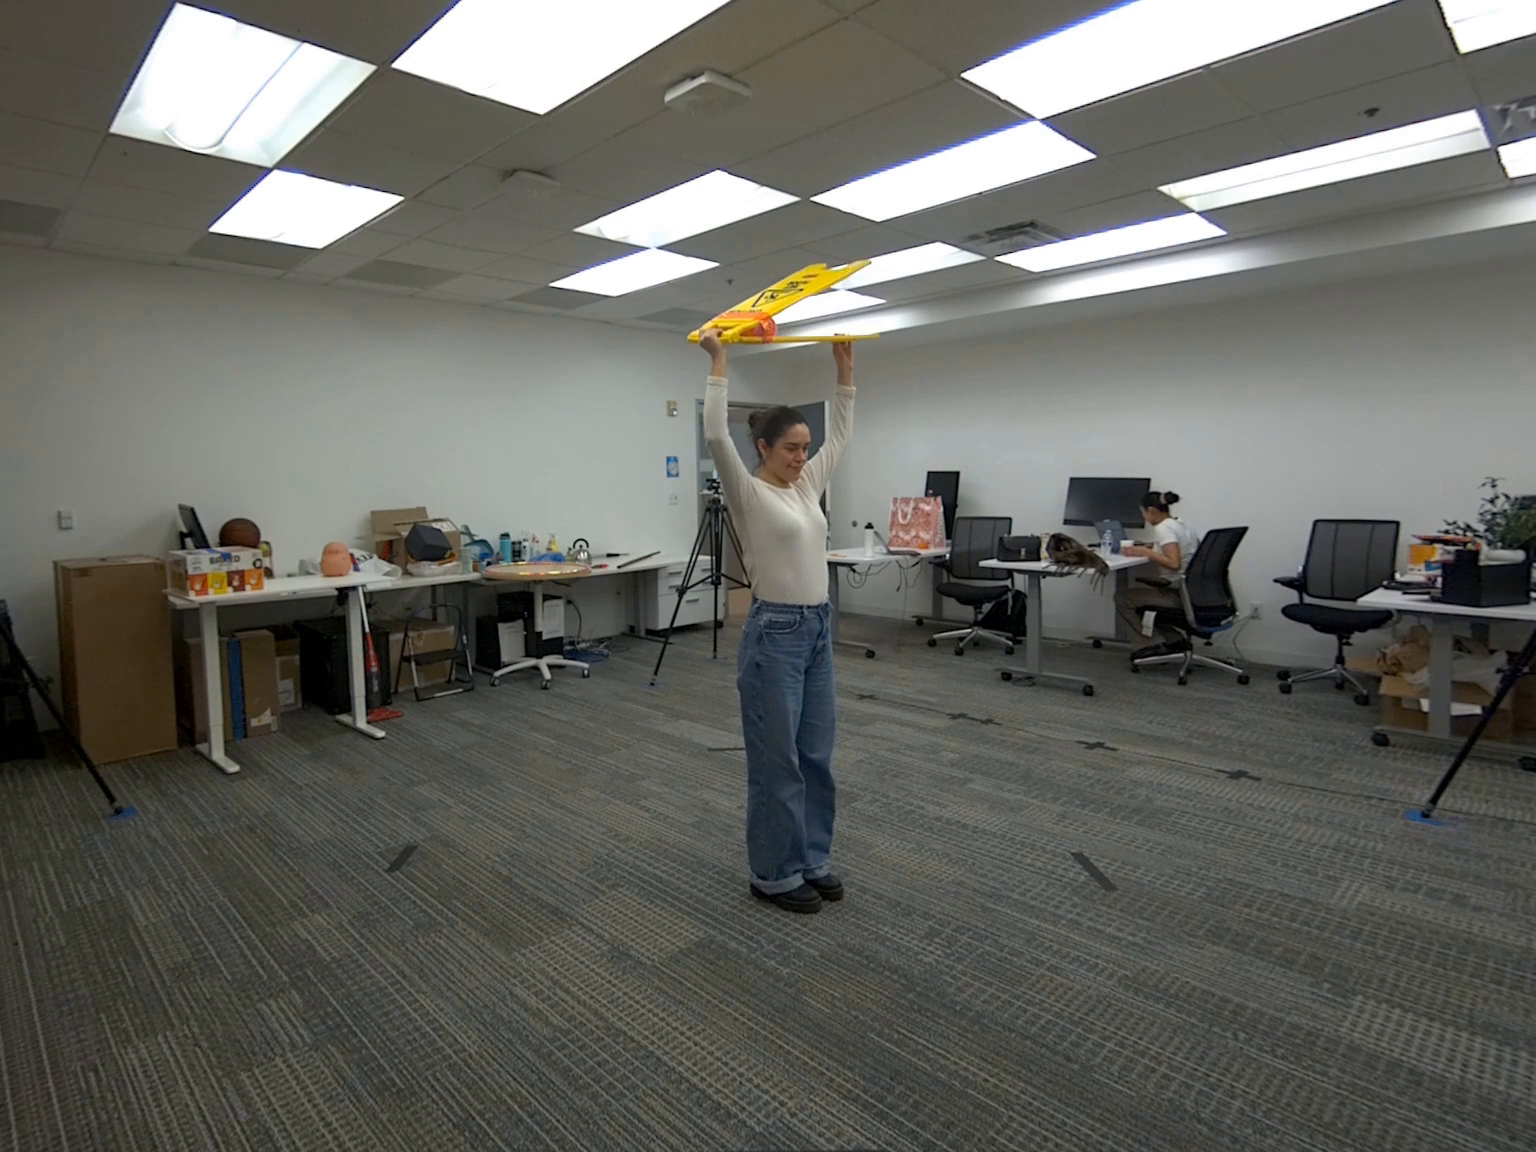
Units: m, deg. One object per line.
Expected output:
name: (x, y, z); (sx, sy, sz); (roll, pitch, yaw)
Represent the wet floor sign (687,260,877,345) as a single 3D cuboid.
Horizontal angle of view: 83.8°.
wet floor sign: (0.047, -0.834, 2.763); (0.637, 0.284, 0.292); (-27, 28, -38)
